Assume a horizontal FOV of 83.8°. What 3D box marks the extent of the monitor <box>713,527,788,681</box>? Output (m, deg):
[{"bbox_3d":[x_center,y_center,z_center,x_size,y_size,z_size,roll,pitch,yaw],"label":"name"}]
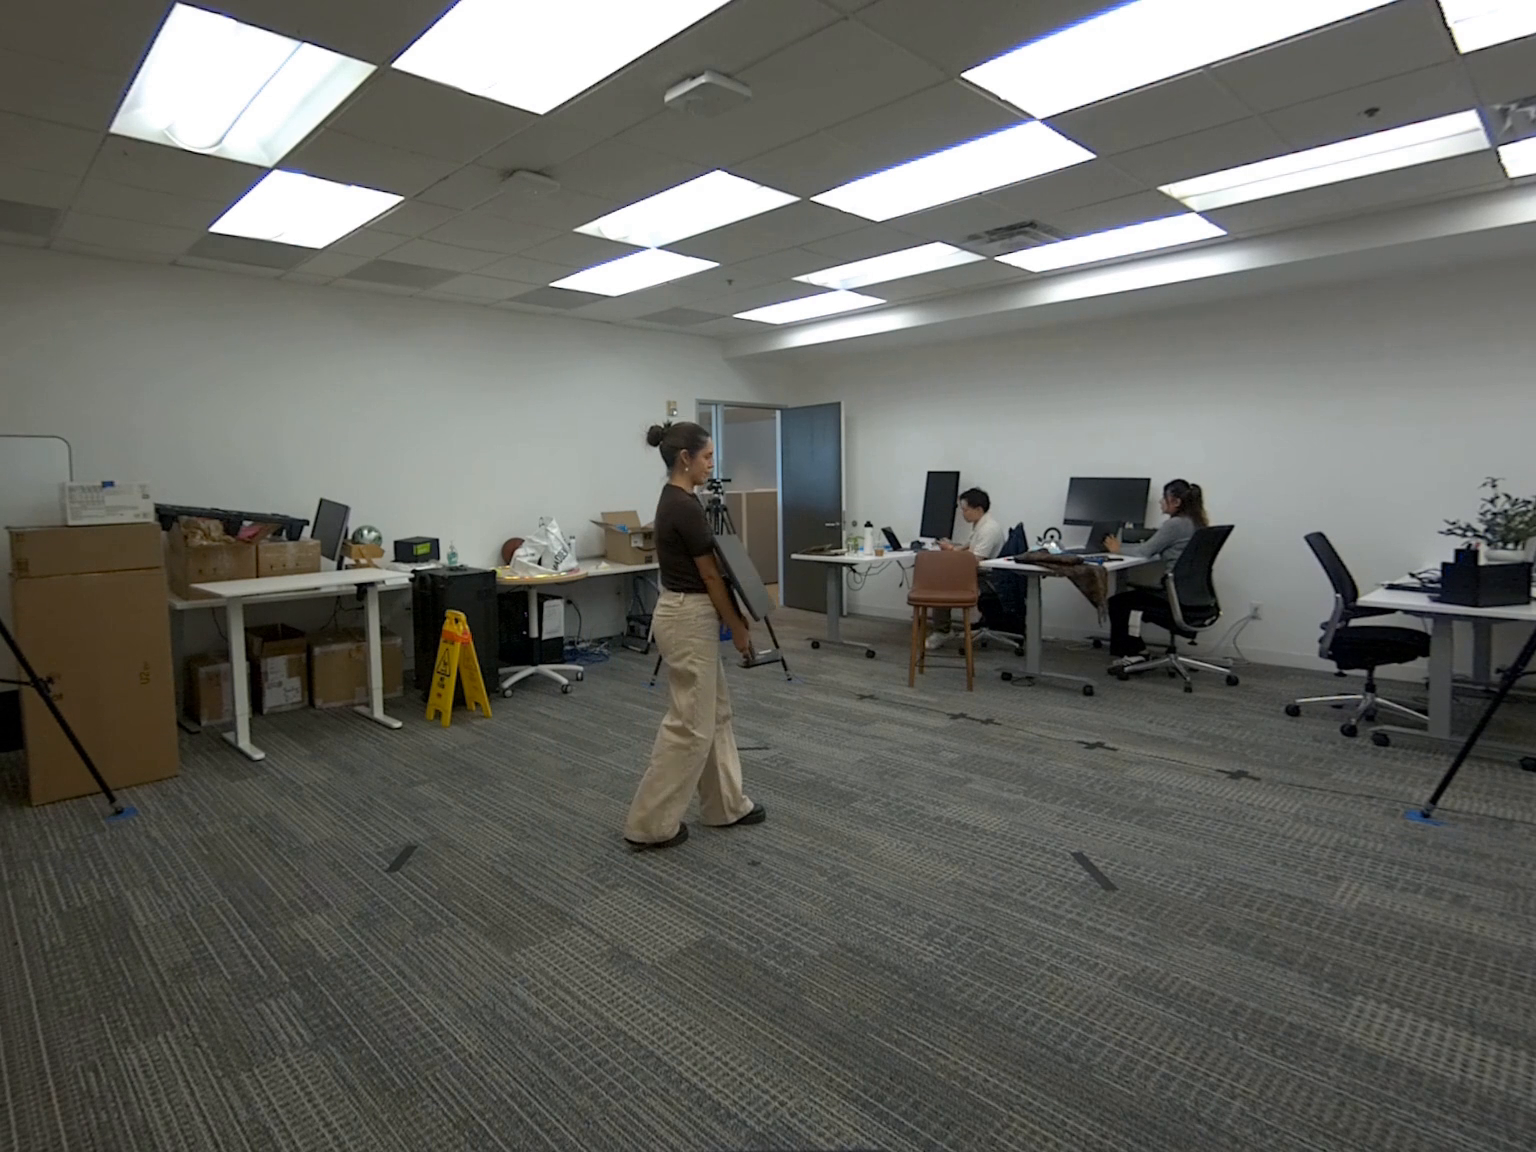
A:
[{"bbox_3d":[-0.096,0.086,3.371,0.188,0.523,0.536,-15,0,5],"label":"monitor"}]
